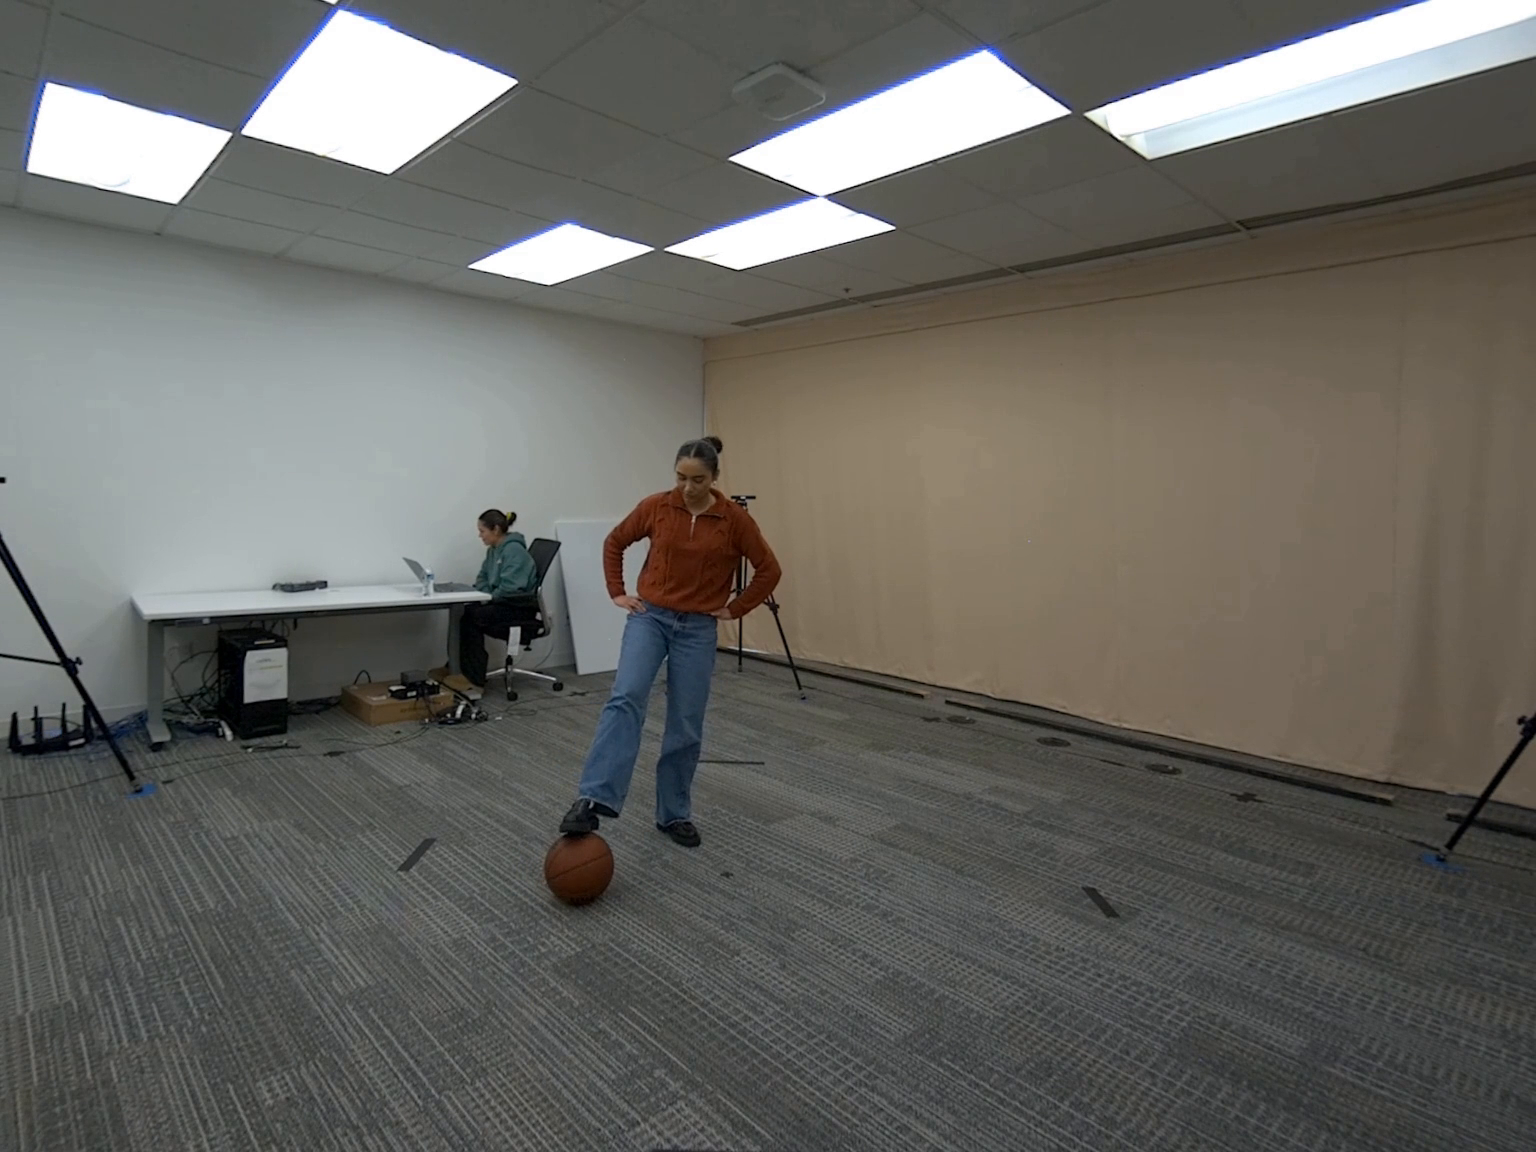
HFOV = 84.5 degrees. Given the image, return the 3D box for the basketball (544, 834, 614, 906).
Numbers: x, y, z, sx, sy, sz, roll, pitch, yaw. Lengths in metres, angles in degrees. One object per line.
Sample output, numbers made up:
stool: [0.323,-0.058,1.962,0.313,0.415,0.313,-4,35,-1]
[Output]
basketball: [-0.652,0.993,2.882,0.236,0.235,0.237,1,4,-1]
